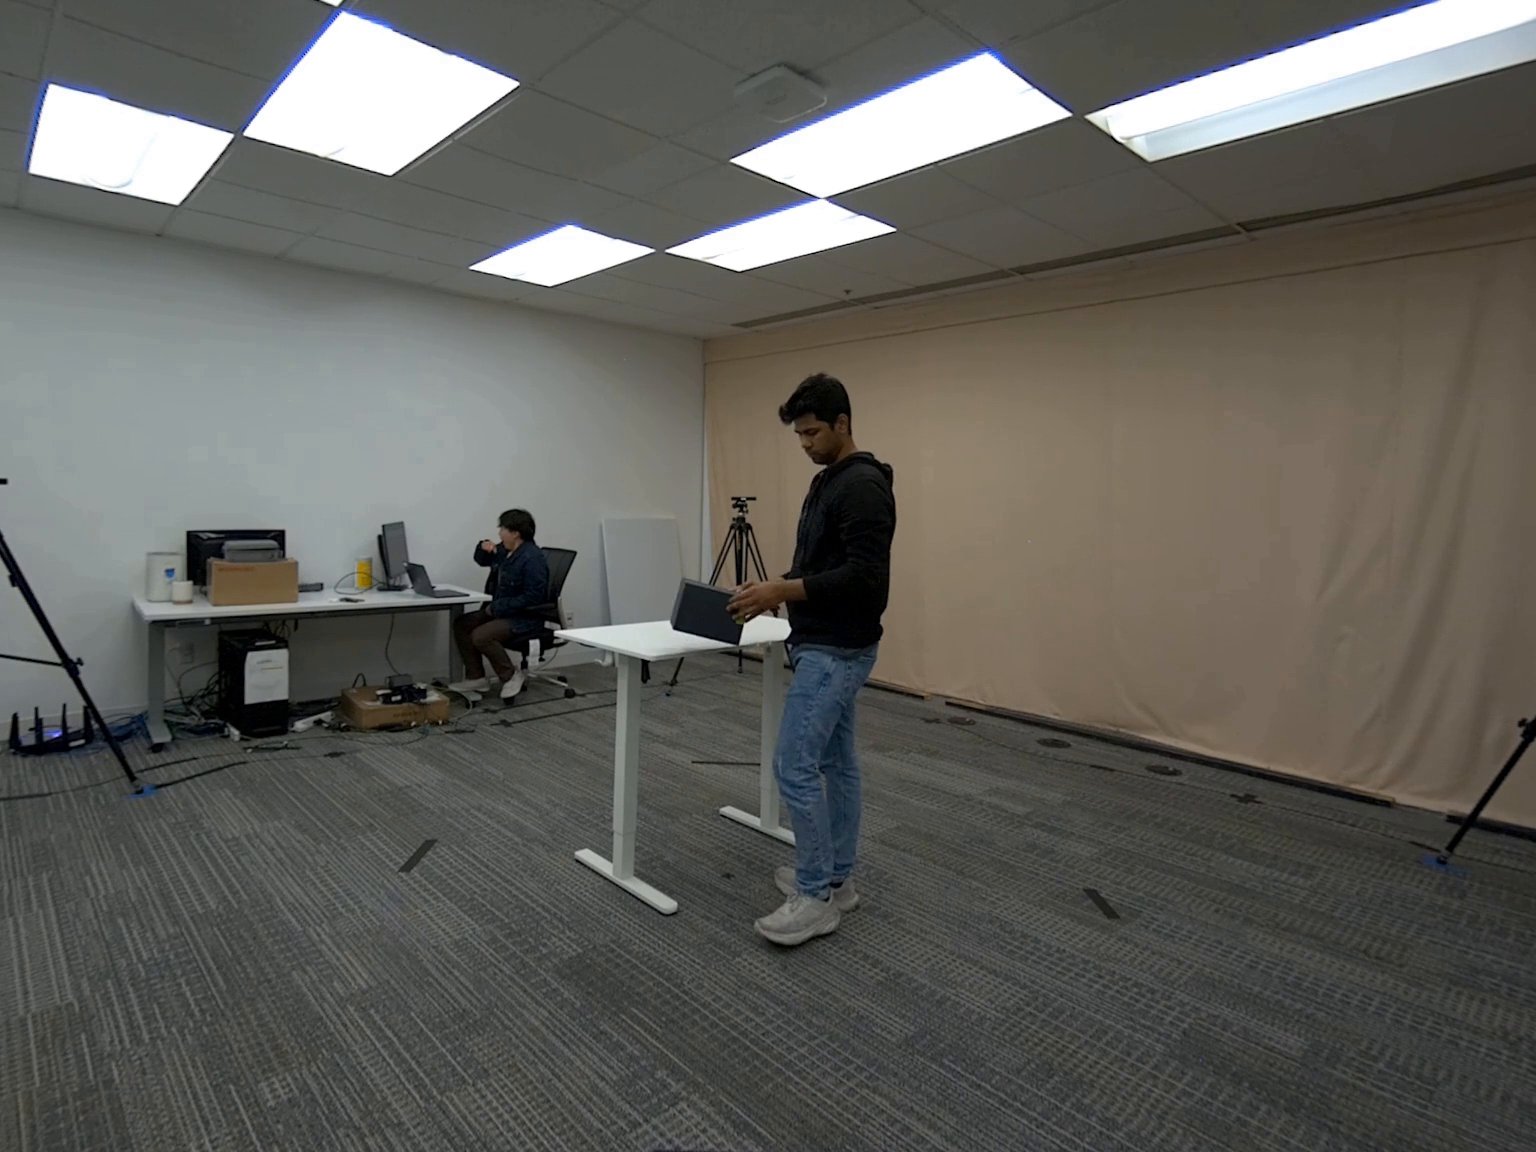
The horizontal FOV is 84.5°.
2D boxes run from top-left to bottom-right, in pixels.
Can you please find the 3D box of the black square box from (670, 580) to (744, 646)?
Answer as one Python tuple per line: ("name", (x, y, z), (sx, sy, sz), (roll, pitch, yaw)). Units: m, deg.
("black square box", (-0.190, 0.122, 2.745), (0.216, 0.156, 0.229), (14, -1, -5))
